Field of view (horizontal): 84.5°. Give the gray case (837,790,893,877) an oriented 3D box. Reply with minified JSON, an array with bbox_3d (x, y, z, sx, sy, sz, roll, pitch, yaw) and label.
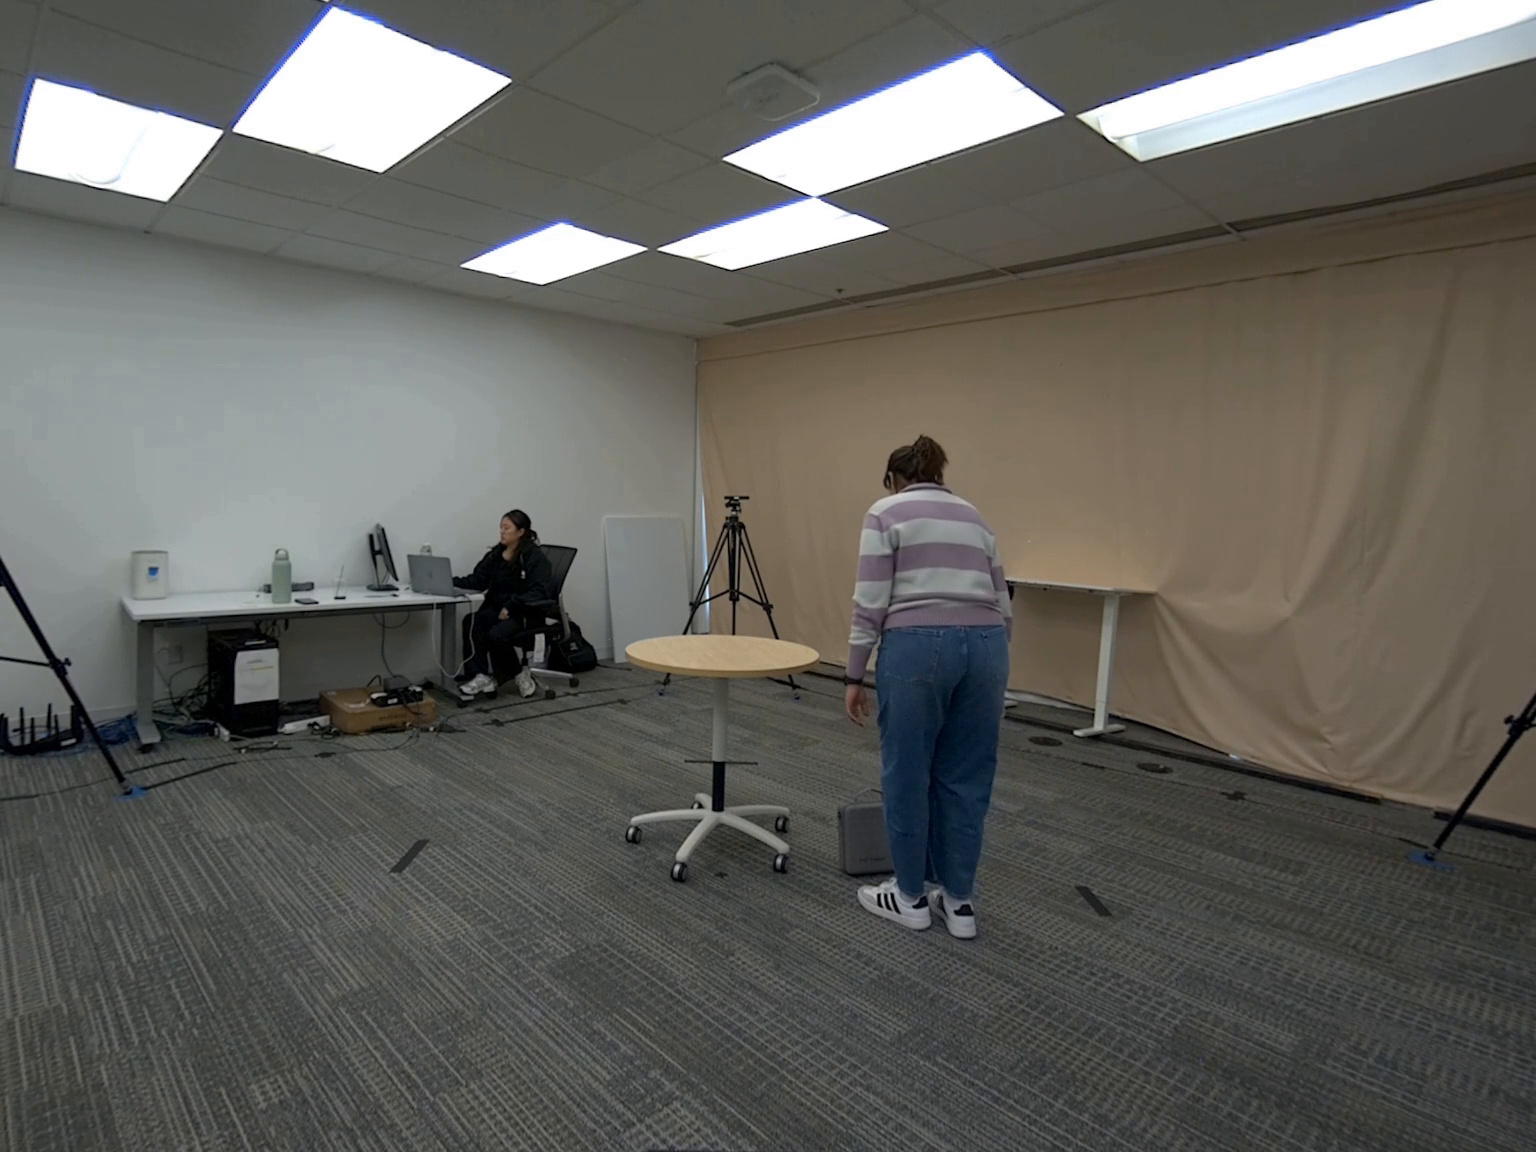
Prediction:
[{"bbox_3d":[0.388,0.973,3.175,0.254,0.261,0.105,0,-5,-14],"label":"gray case"}]
